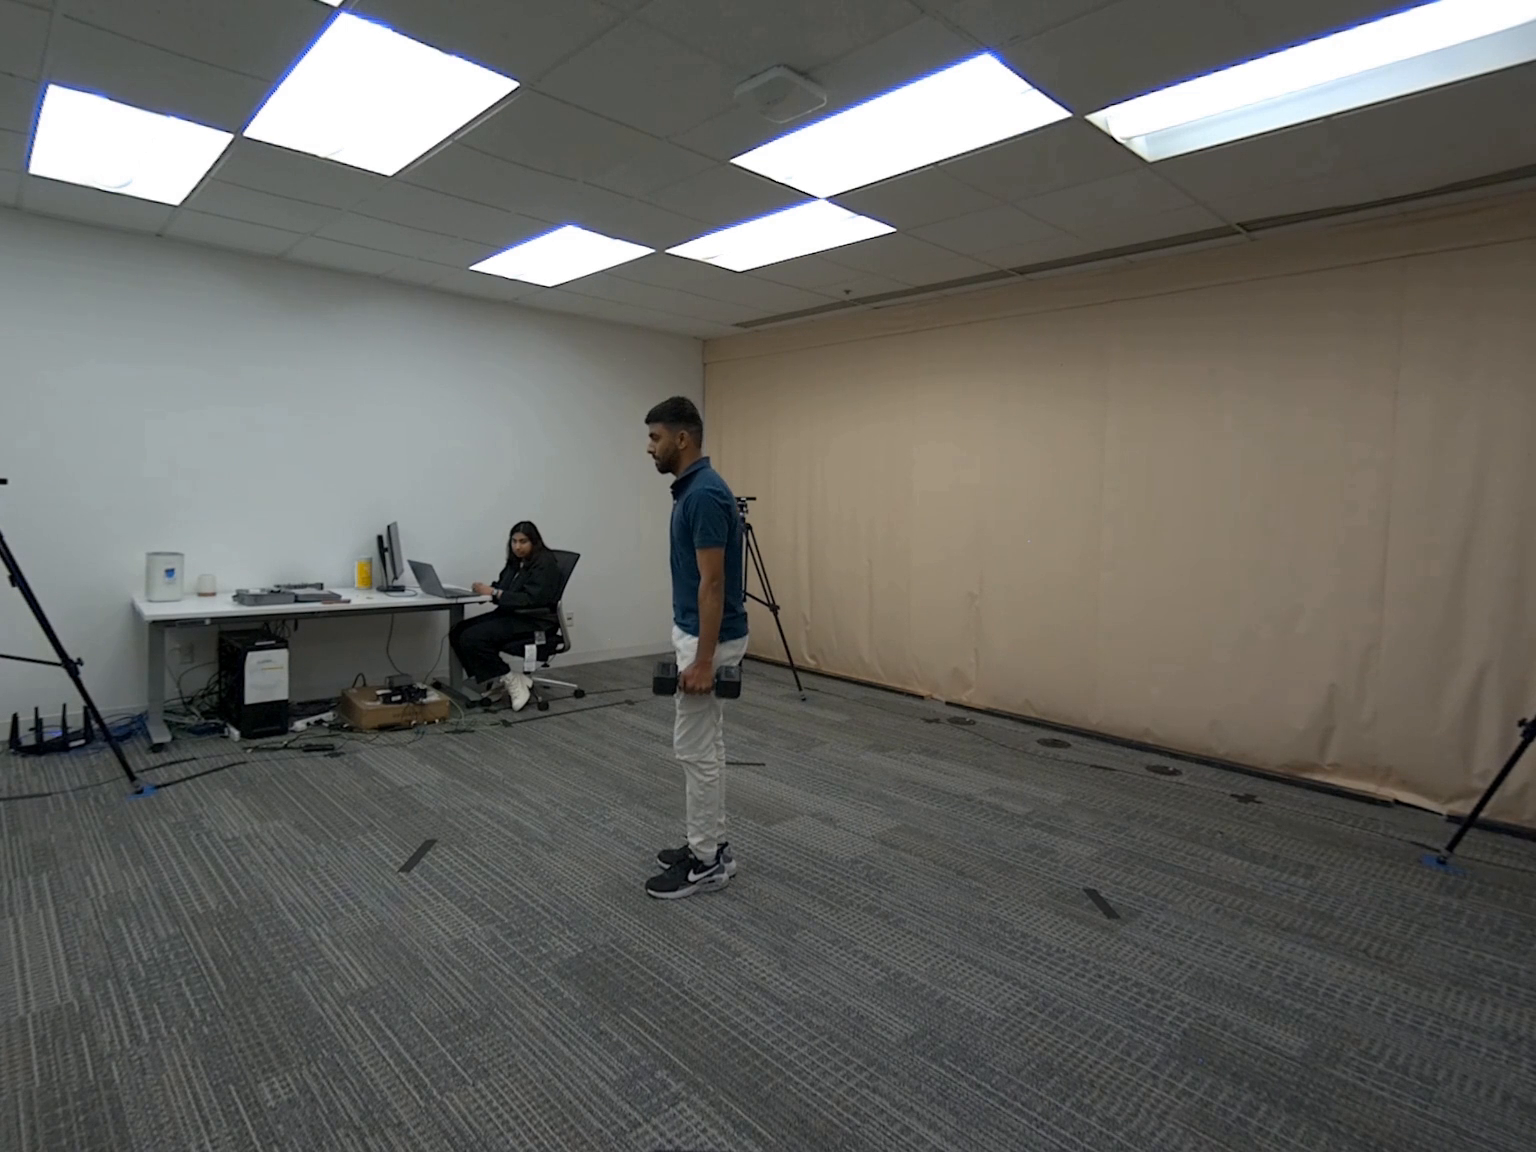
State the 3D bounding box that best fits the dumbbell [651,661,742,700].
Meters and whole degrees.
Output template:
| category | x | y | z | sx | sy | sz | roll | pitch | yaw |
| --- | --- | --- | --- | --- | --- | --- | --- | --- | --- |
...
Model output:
| category | x | y | z | sx | sy | sz | roll | pitch | yaw |
| --- | --- | --- | --- | --- | --- | --- | --- | --- | --- |
| dumbbell | -0.254 | 0.364 | 2.819 | 0.292 | 0.122 | 0.110 | 4 | 14 | -5 |
